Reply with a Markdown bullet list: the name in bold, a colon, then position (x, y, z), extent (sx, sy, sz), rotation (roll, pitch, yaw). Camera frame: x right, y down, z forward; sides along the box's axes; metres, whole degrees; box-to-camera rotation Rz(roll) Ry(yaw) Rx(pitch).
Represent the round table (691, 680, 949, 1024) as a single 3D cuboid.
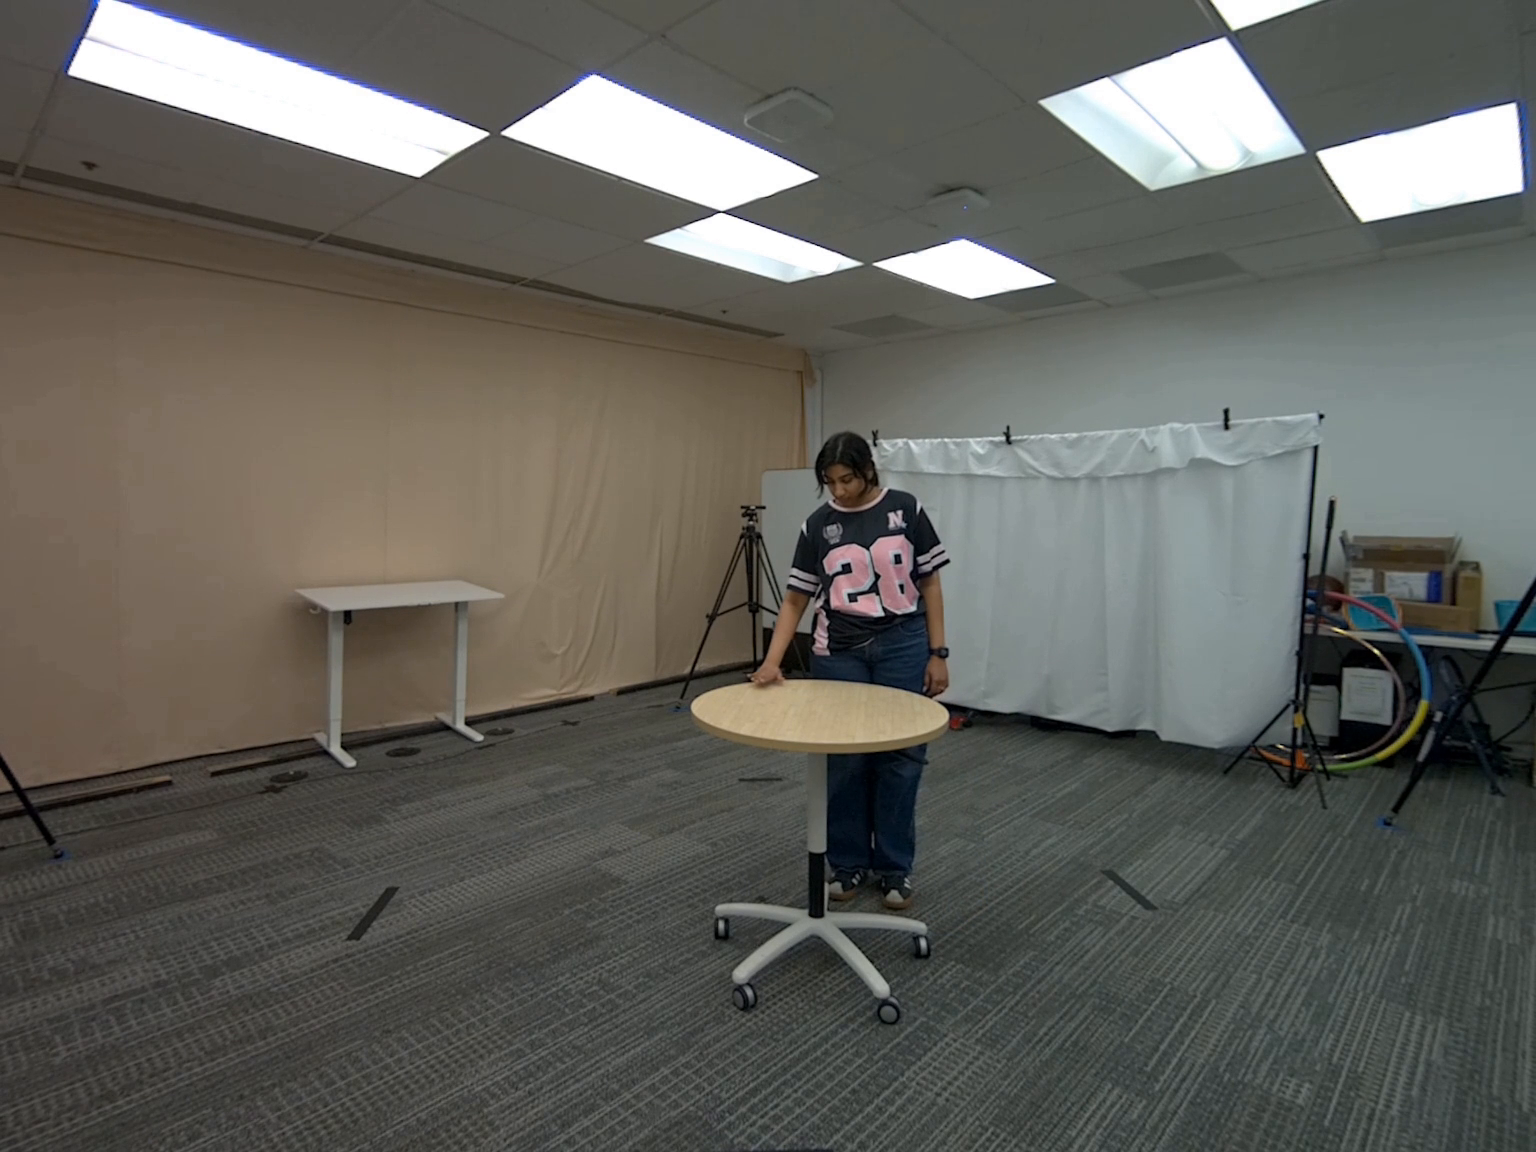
- **round table**: position (0.162, 0.787, 2.552), extent (0.784, 0.785, 0.788), rotation (0, 4, -2)
